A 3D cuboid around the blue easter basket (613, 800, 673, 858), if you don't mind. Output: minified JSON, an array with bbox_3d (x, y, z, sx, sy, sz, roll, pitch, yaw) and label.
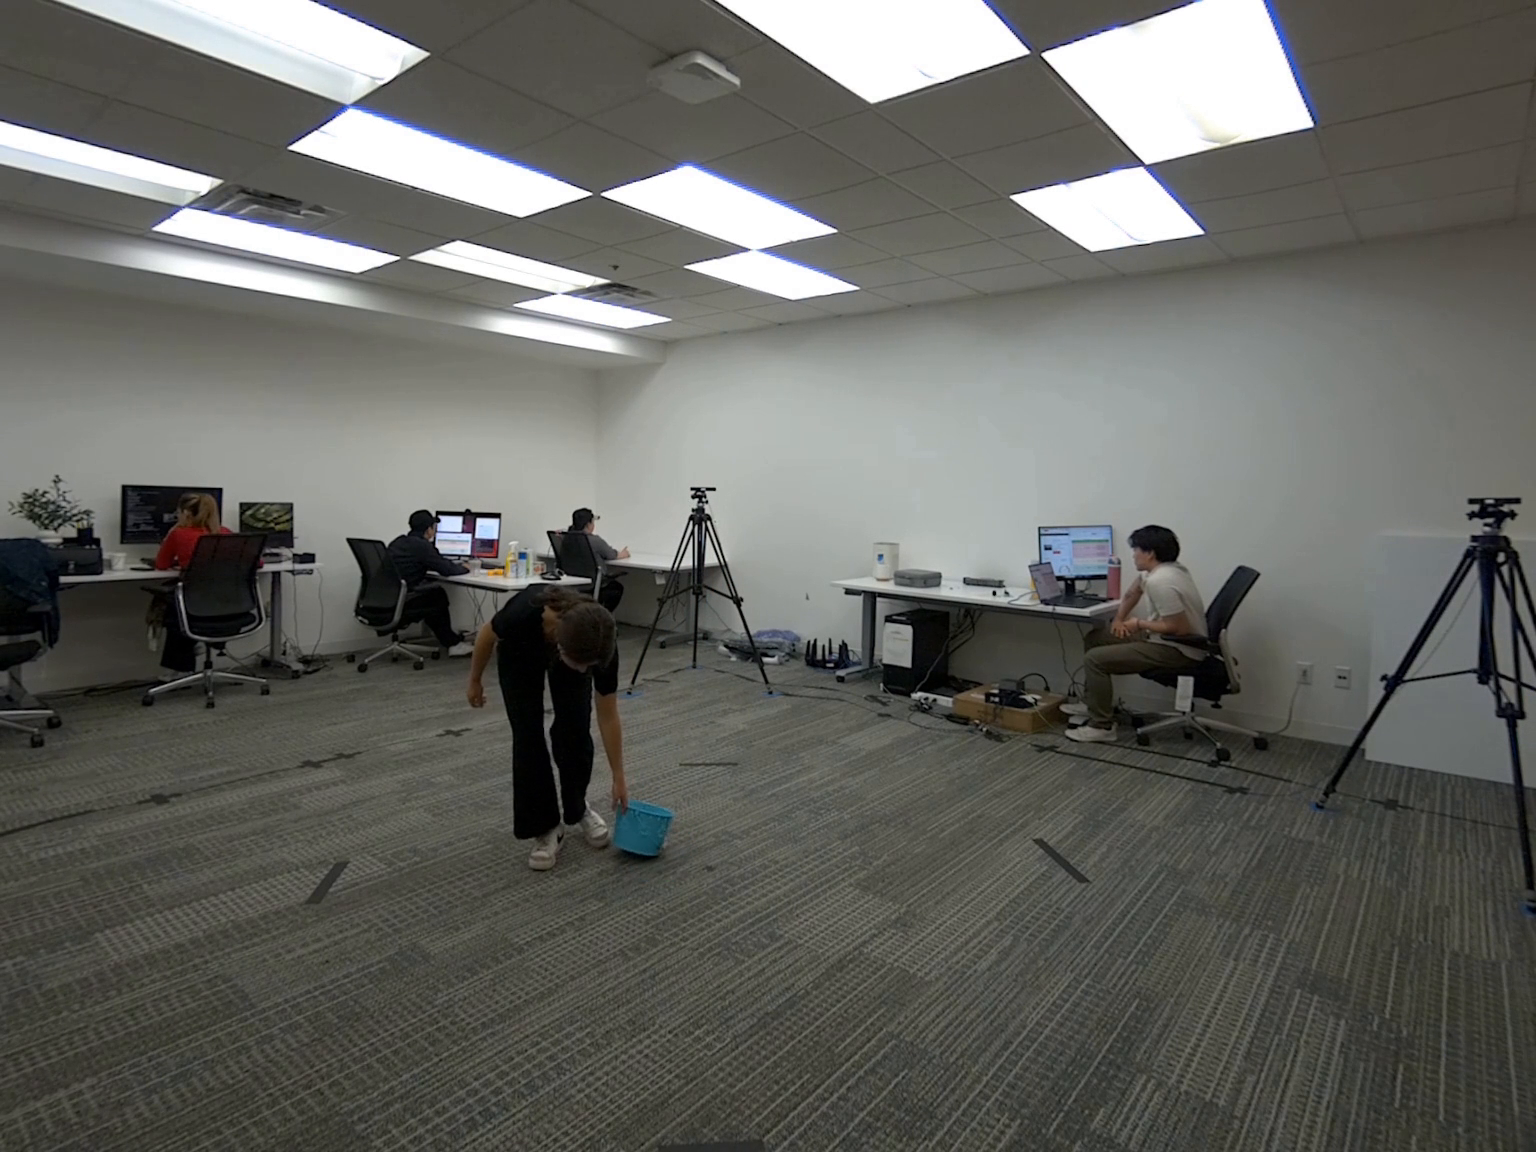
[{"bbox_3d":[-0.494,0.955,3.217,0.244,0.157,0.241,13,-10,1],"label":"blue easter basket"}]
